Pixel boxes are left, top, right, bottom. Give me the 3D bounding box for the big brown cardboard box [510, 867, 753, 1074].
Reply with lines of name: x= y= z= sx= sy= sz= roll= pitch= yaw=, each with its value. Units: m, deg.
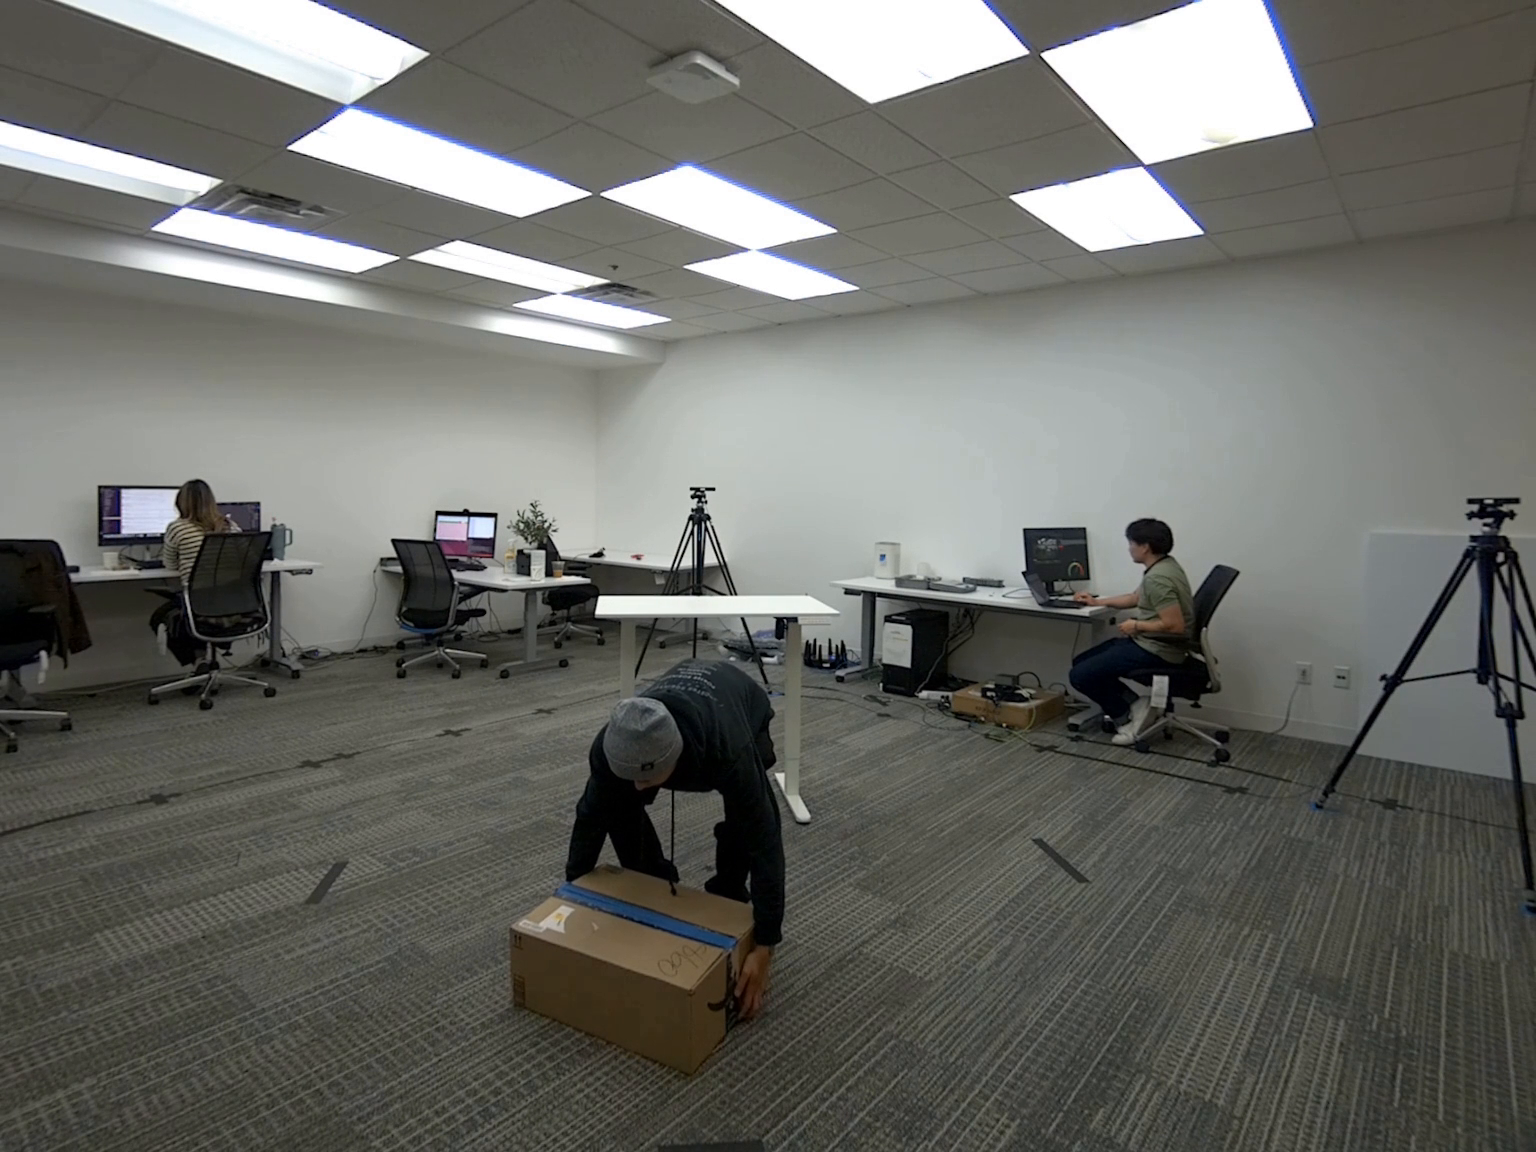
big brown cardboard box: x=-0.355 y=1.030 z=2.308 sx=0.606 sy=0.232 sz=0.409 roll=5 pitch=9 yaw=27
